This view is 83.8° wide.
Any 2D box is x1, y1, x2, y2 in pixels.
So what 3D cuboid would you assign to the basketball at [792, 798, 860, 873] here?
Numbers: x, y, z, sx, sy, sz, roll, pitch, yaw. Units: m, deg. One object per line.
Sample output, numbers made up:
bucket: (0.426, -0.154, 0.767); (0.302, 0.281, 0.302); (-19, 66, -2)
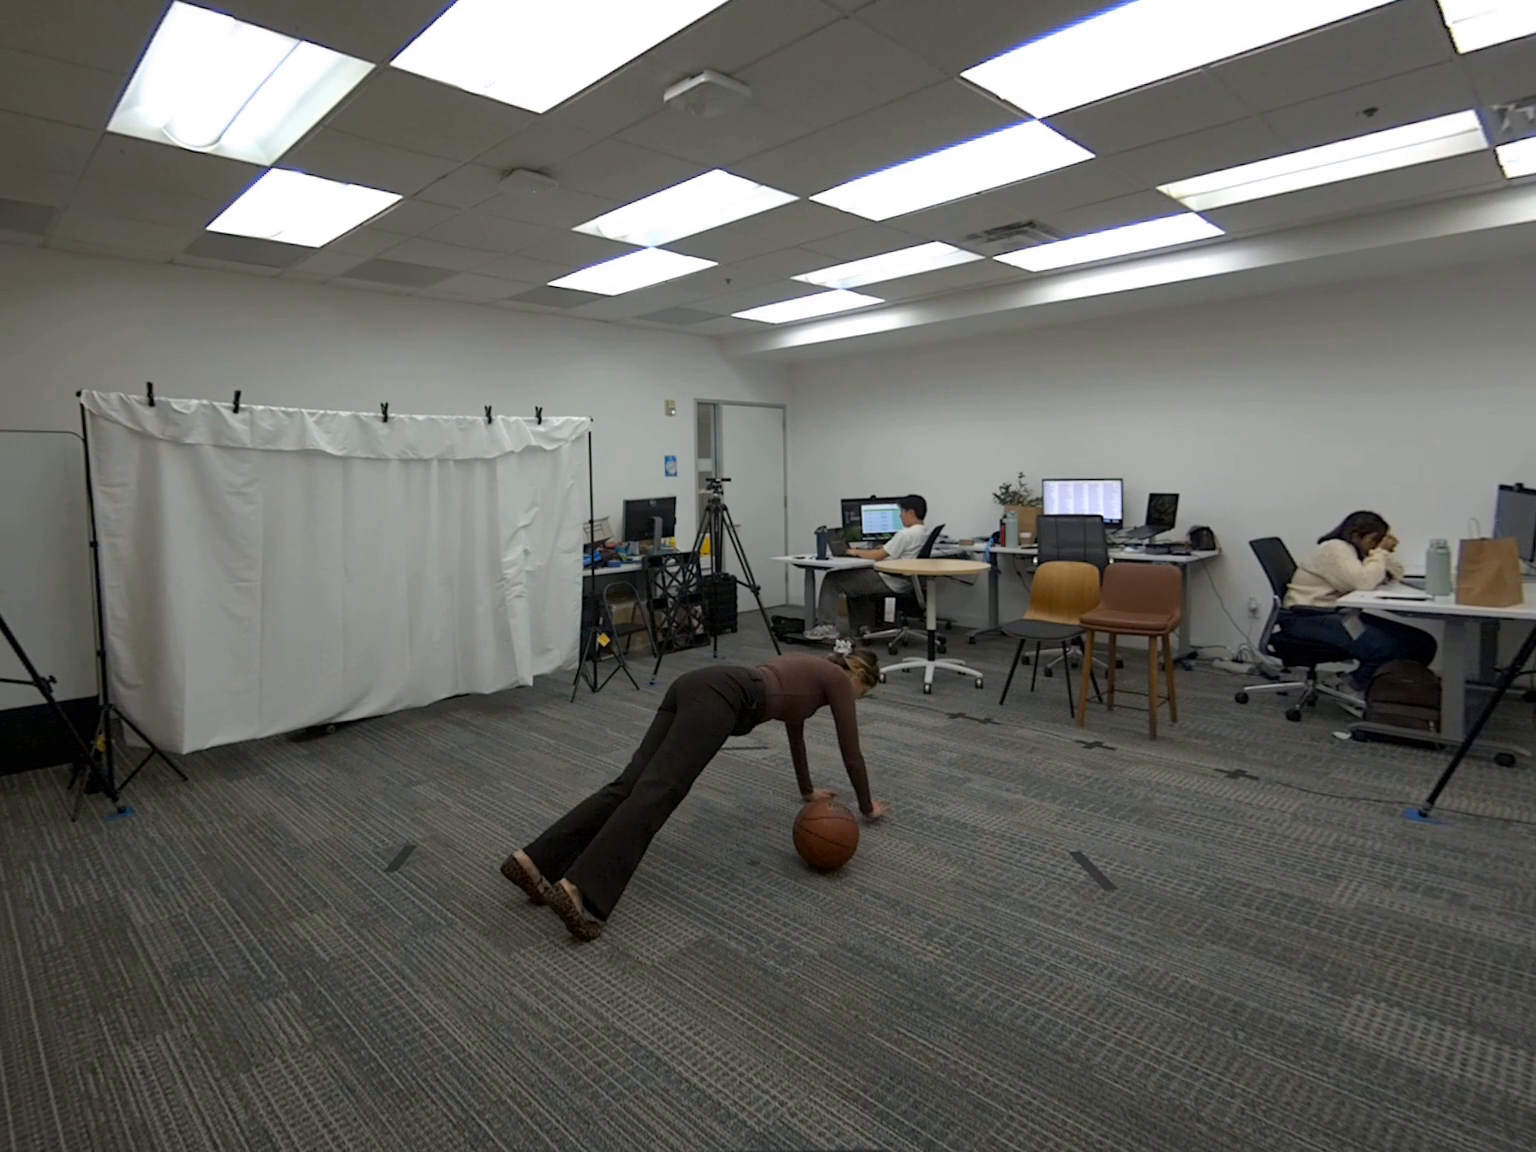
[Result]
basketball: (0.206, 0.919, 3.059); (0.236, 0.235, 0.237); (-1, 5, -2)
